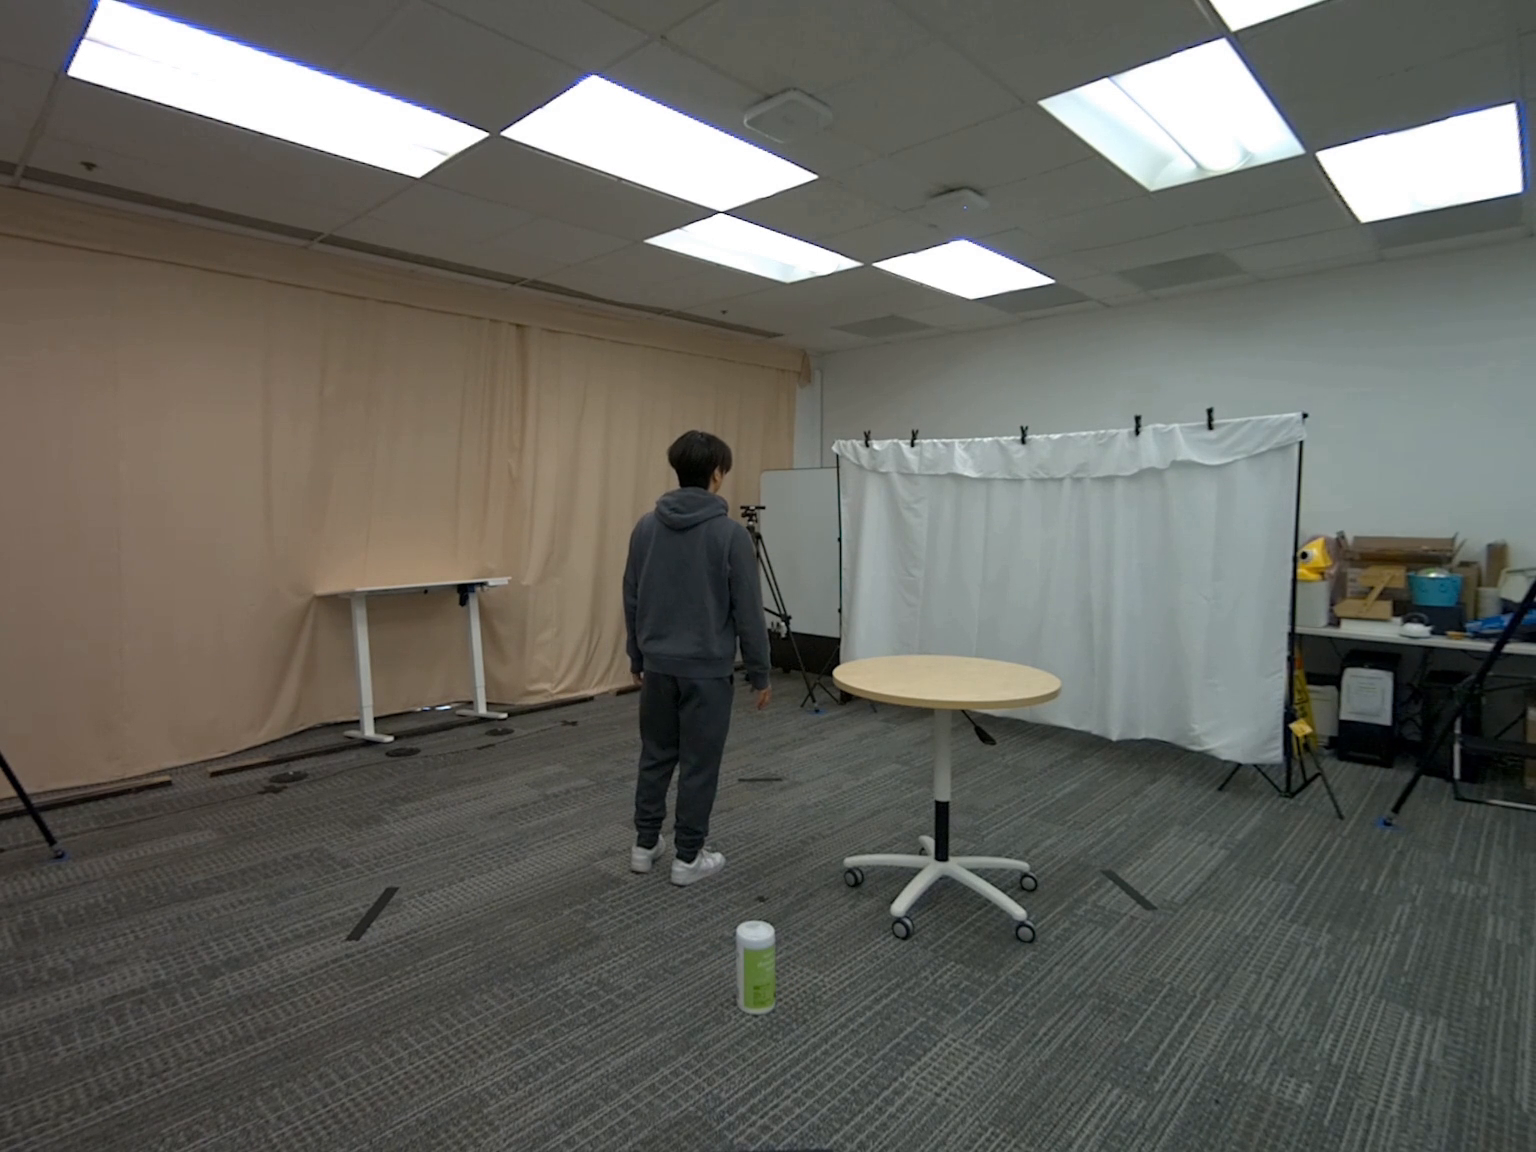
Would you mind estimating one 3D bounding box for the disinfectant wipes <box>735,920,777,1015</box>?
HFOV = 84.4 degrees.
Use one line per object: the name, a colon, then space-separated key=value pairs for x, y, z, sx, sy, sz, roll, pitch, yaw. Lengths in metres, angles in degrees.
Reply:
disinfectant wipes: x=-0.033 y=1.088 z=2.344 sx=0.118 sy=0.217 sz=0.118 roll=-1 pitch=3 yaw=-2
